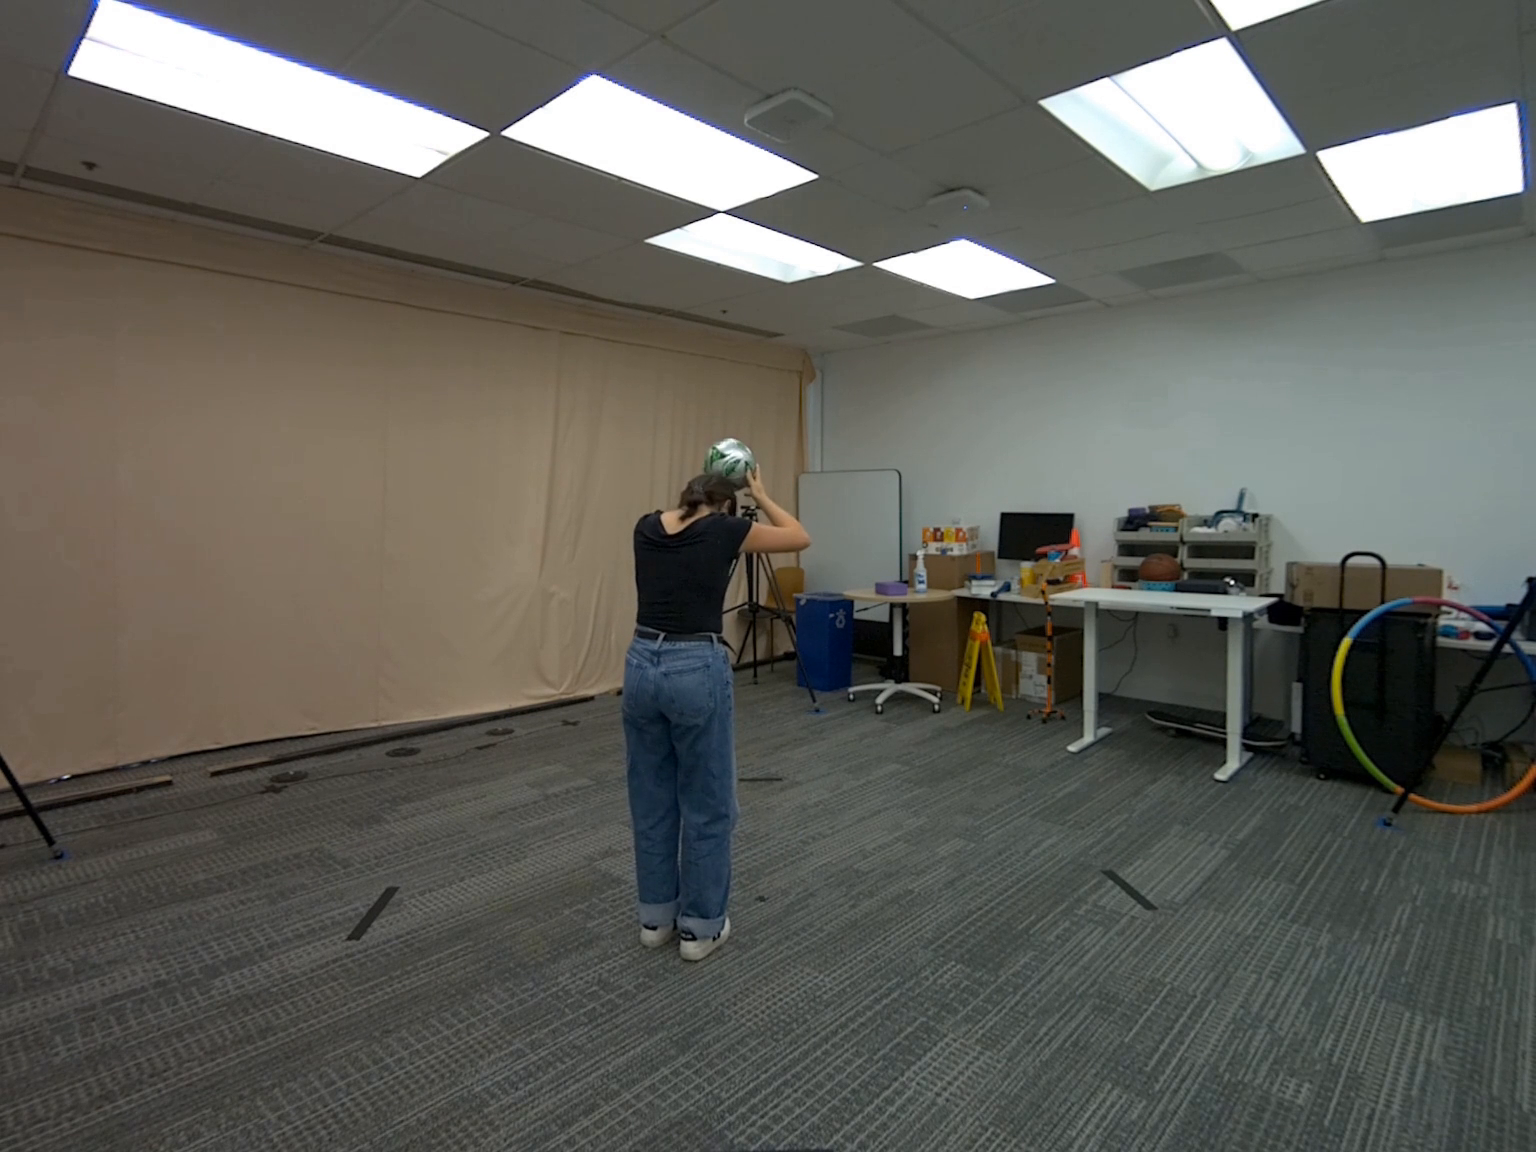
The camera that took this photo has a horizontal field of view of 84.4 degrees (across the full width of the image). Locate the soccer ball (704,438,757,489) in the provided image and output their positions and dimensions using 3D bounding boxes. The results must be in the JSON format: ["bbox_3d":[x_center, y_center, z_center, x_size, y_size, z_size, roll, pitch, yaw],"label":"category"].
[{"bbox_3d":[-0.133,-0.384,2.938,0.187,0.187,0.188,0,4,-2],"label":"soccer ball"}]
